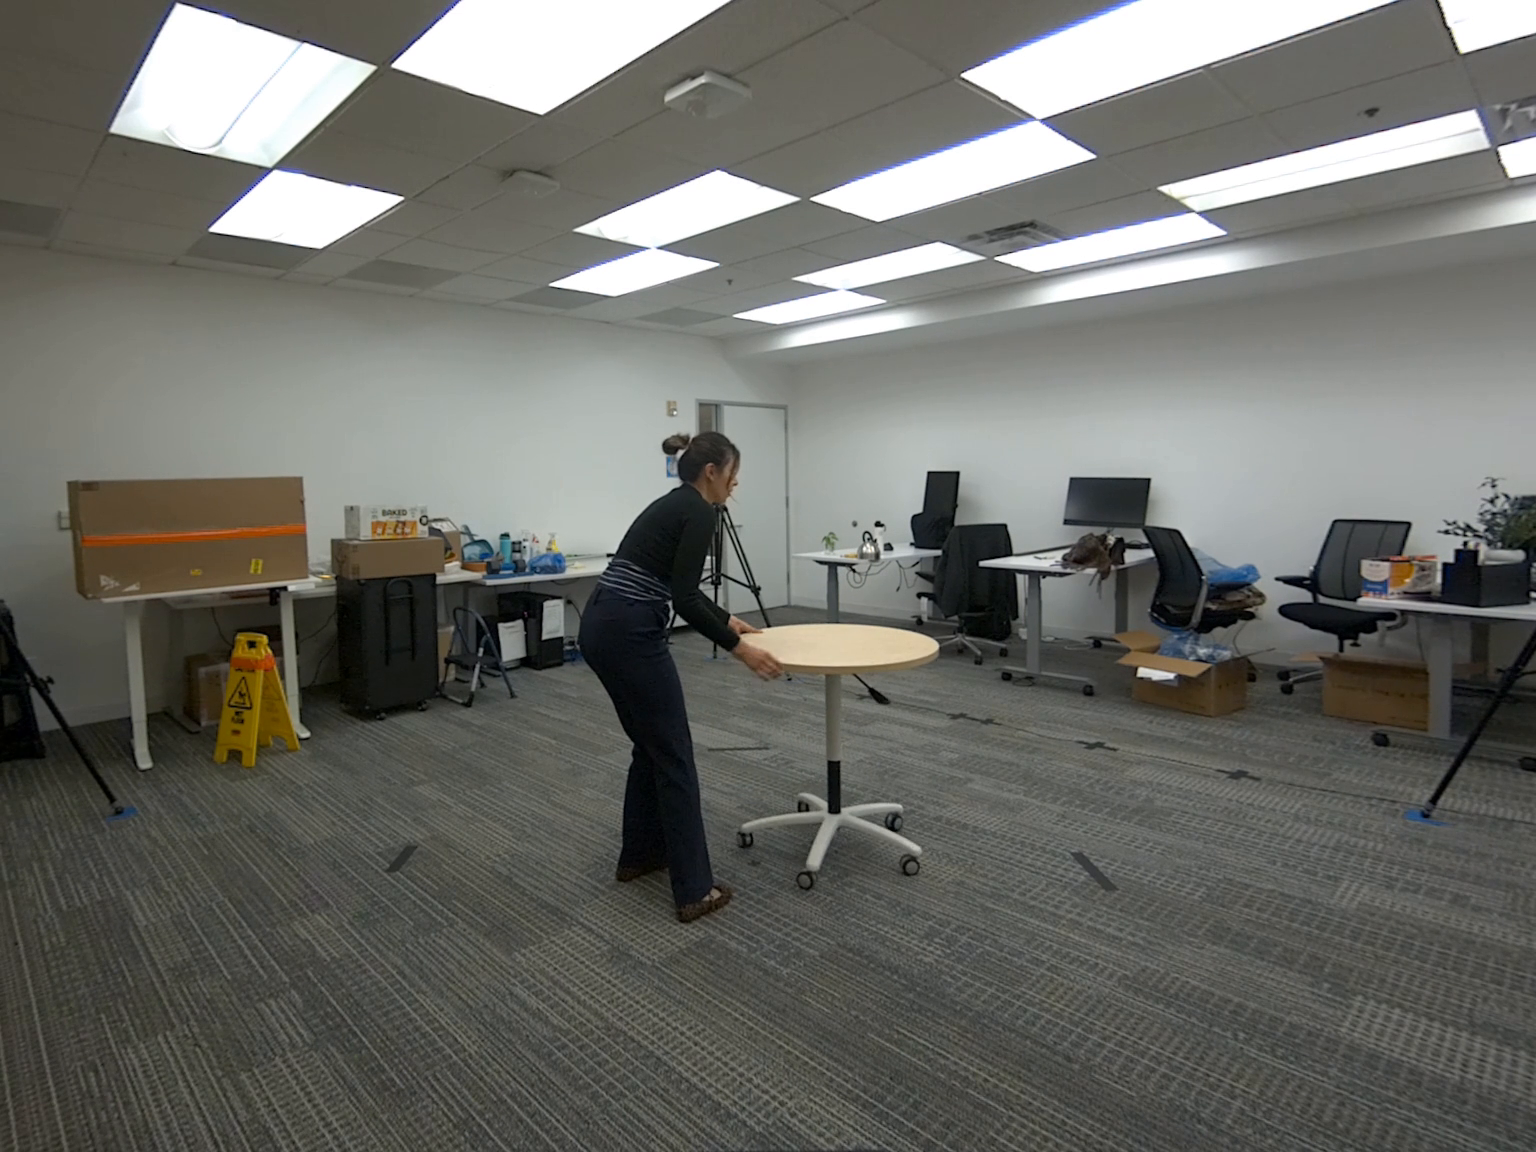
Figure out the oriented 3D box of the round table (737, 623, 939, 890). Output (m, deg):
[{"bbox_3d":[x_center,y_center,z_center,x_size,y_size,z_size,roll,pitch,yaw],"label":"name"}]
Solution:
[{"bbox_3d":[0.241,0.640,3.188,0.763,0.791,0.768,-1,5,-2],"label":"round table"}]
